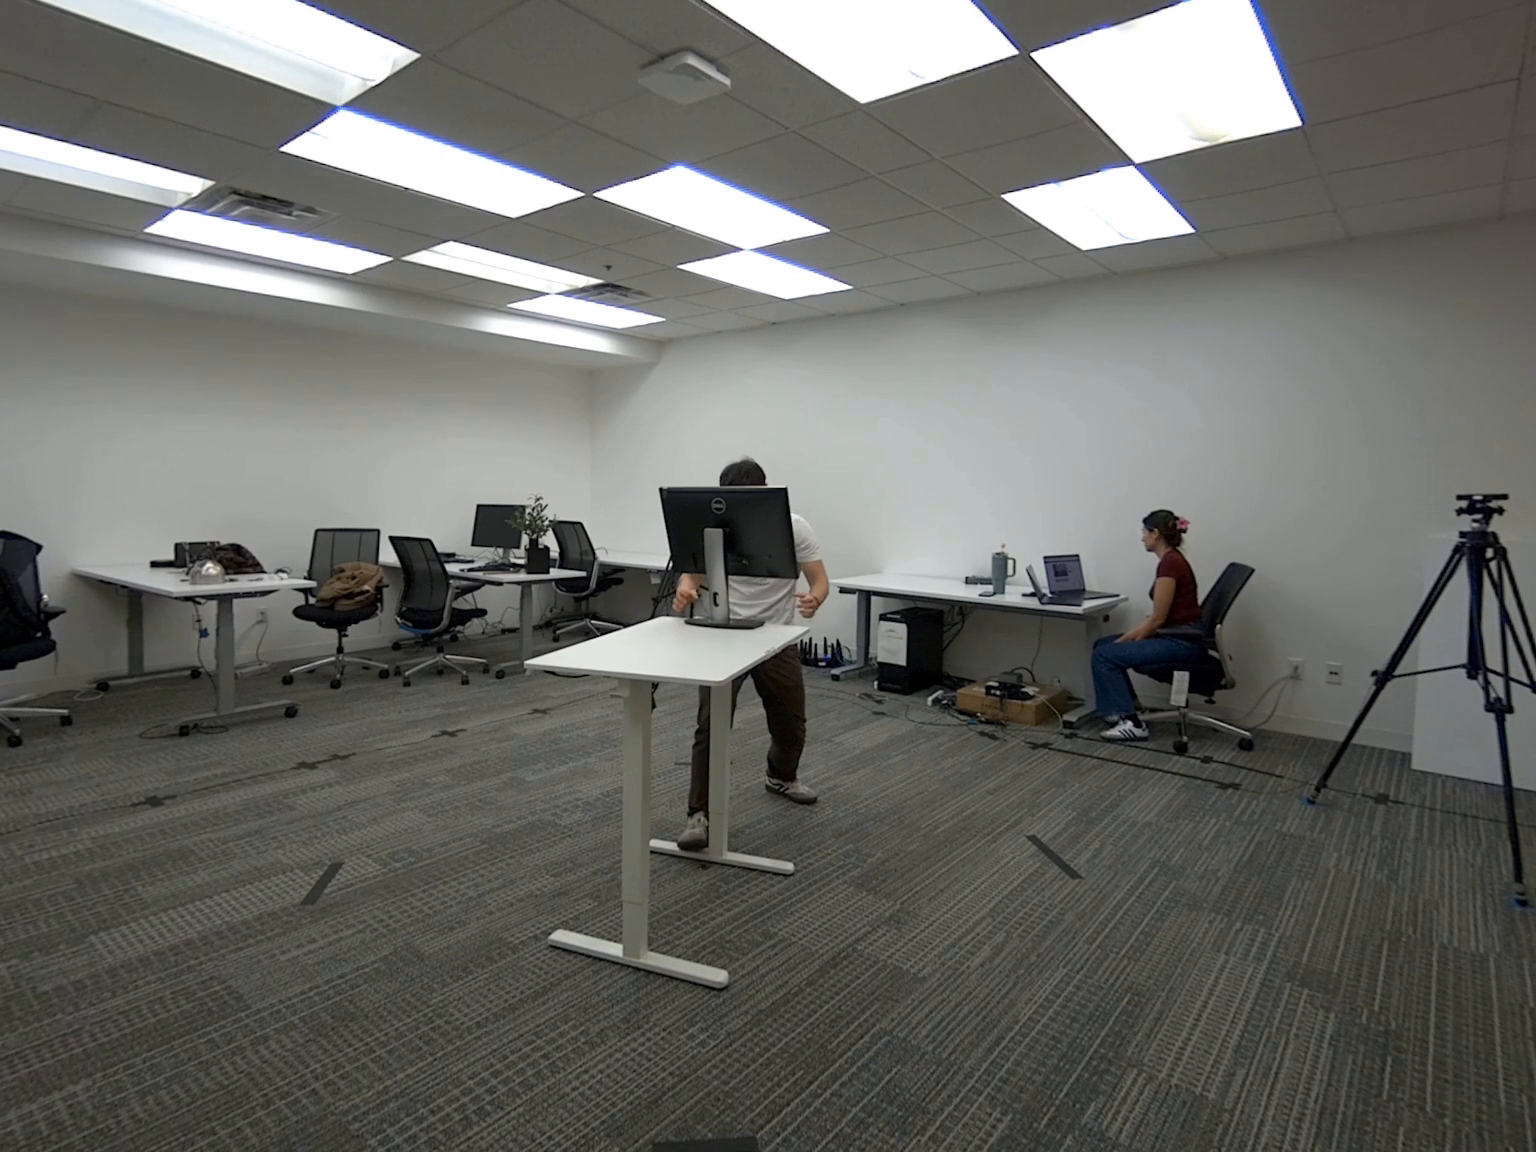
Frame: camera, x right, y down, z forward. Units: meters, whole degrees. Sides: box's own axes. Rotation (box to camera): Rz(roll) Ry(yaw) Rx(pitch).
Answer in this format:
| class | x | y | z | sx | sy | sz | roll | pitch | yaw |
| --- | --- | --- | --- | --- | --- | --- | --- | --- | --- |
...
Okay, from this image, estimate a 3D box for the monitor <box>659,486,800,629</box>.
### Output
| class | x | y | z | sx | sy | sz | roll | pitch | yaw |
| --- | --- | --- | --- | --- | --- | --- | --- | --- | --- |
| monitor | -0.179 | -0.076 | 3.162 | 0.553 | 0.519 | 0.183 | 2 | 7 | 26 |
